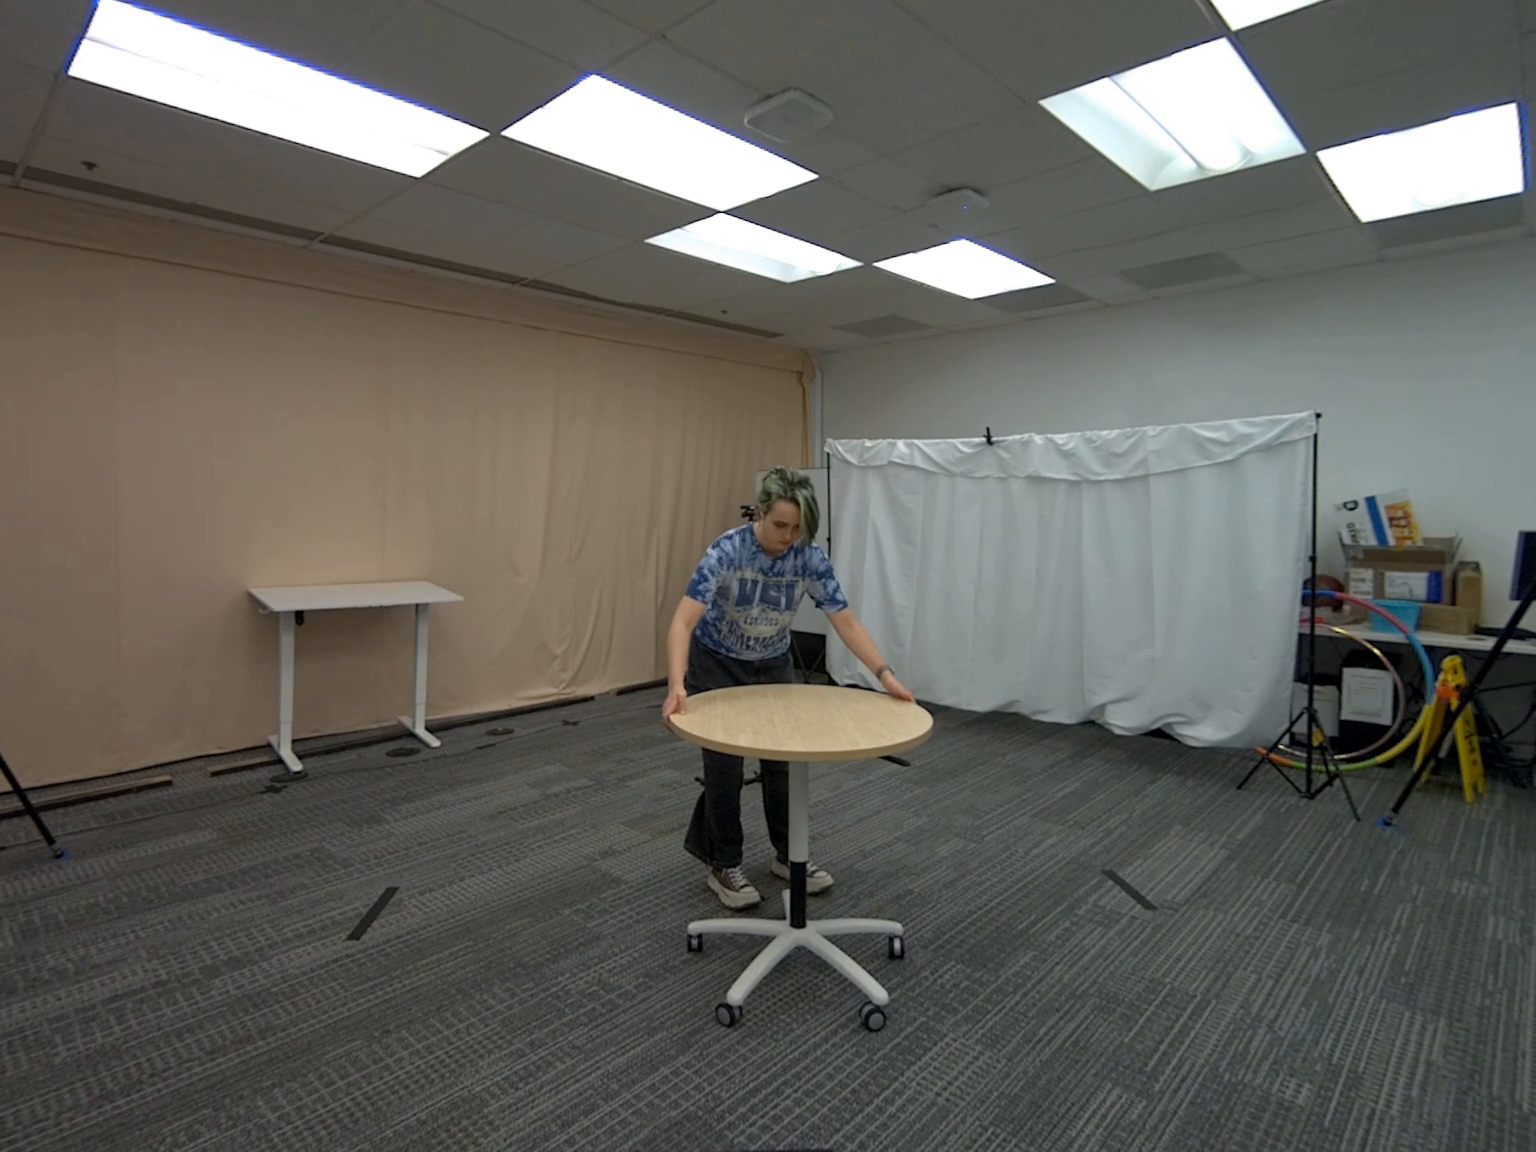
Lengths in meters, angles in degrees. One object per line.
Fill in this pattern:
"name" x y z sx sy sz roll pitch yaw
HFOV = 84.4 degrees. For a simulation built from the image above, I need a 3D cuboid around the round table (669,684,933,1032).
"round table" 0.102 0.797 2.496 0.763 0.792 0.767 0 4 -2
